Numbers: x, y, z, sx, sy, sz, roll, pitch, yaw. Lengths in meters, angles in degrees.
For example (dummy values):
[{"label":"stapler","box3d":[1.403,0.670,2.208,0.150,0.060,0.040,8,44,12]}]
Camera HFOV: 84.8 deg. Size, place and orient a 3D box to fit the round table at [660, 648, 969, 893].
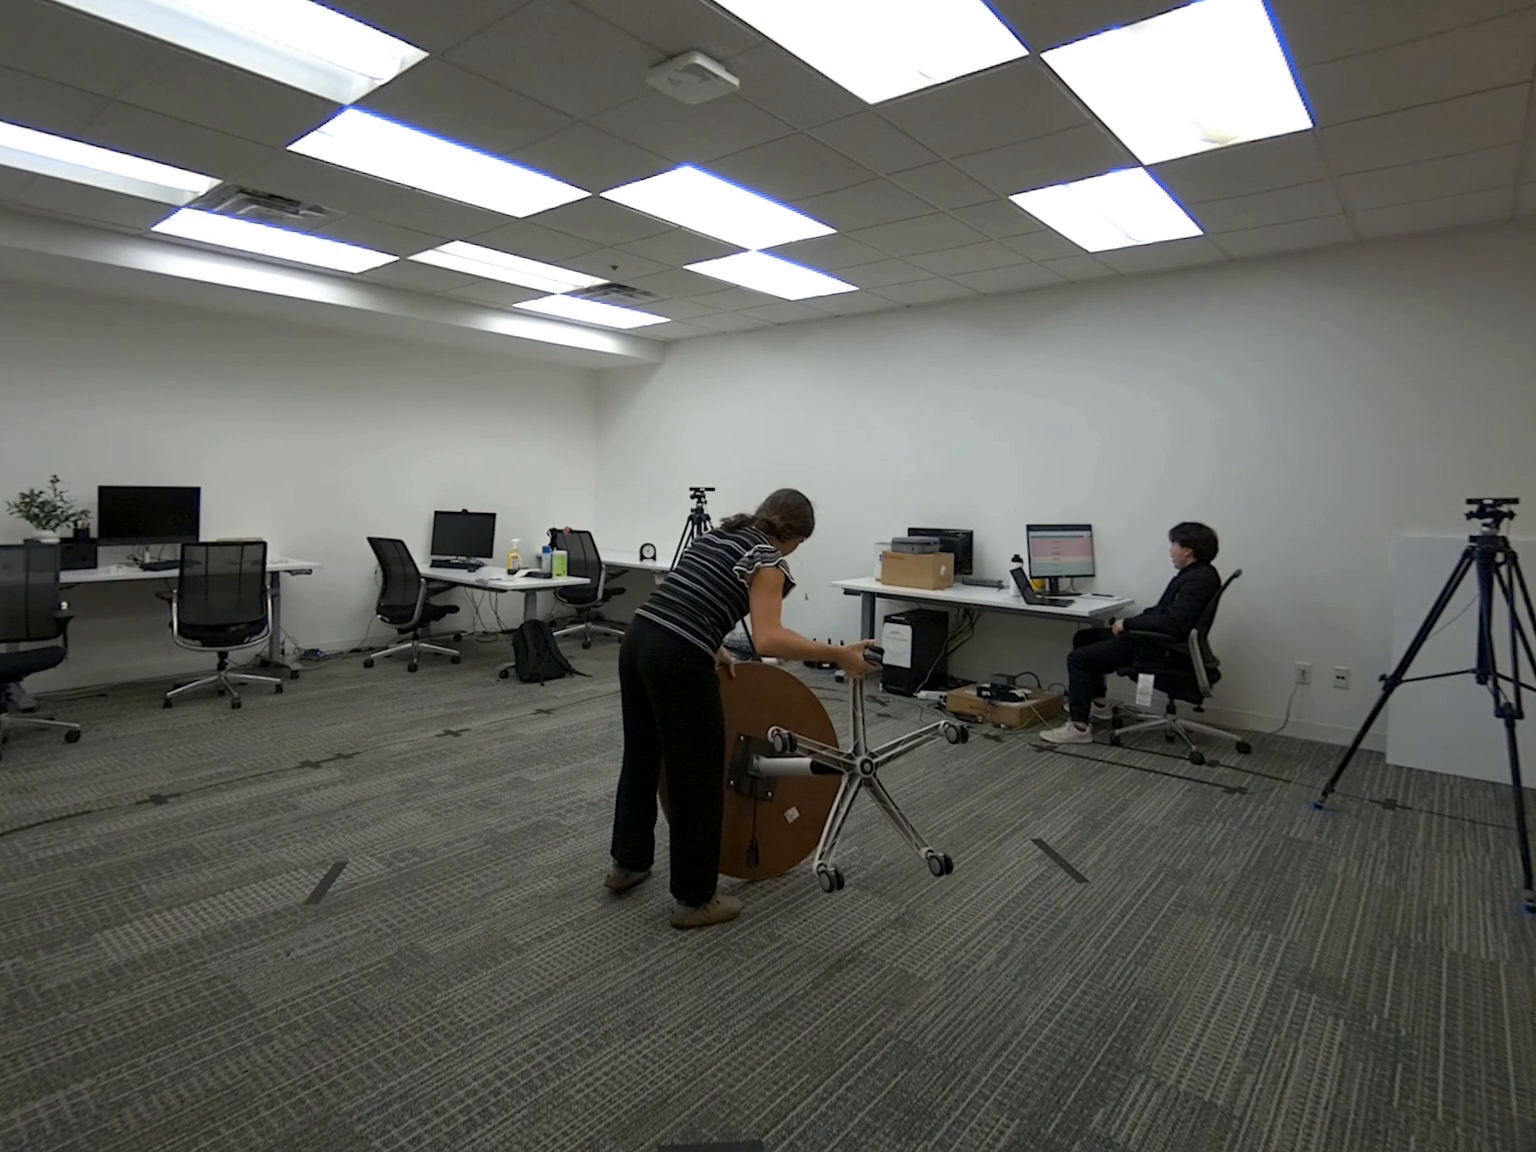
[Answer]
[{"label":"round table","box3d":[0.137,0.630,2.799,0.744,0.773,0.805,-1,-12,-30]}]
